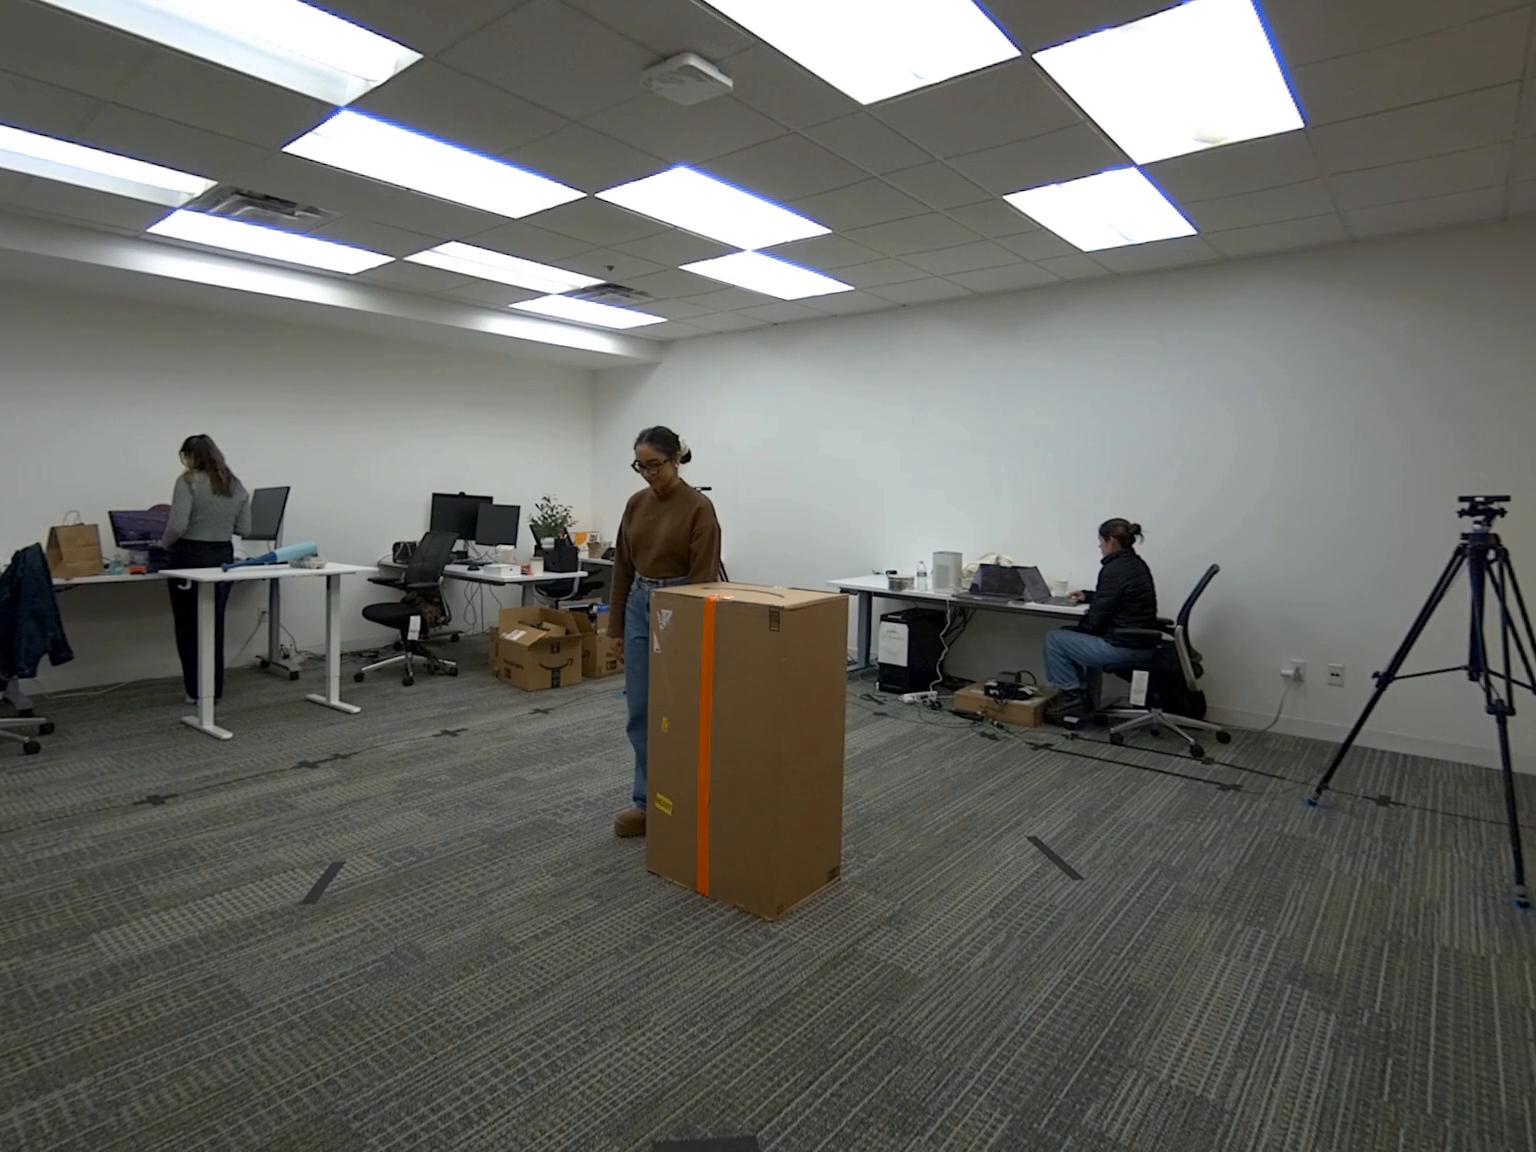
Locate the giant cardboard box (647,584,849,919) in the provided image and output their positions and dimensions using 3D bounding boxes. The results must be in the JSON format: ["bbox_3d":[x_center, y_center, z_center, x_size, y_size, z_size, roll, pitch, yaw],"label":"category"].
[{"bbox_3d":[-0.087,0.569,3.030,0.603,1.024,0.434,3,4,36],"label":"giant cardboard box"}]
